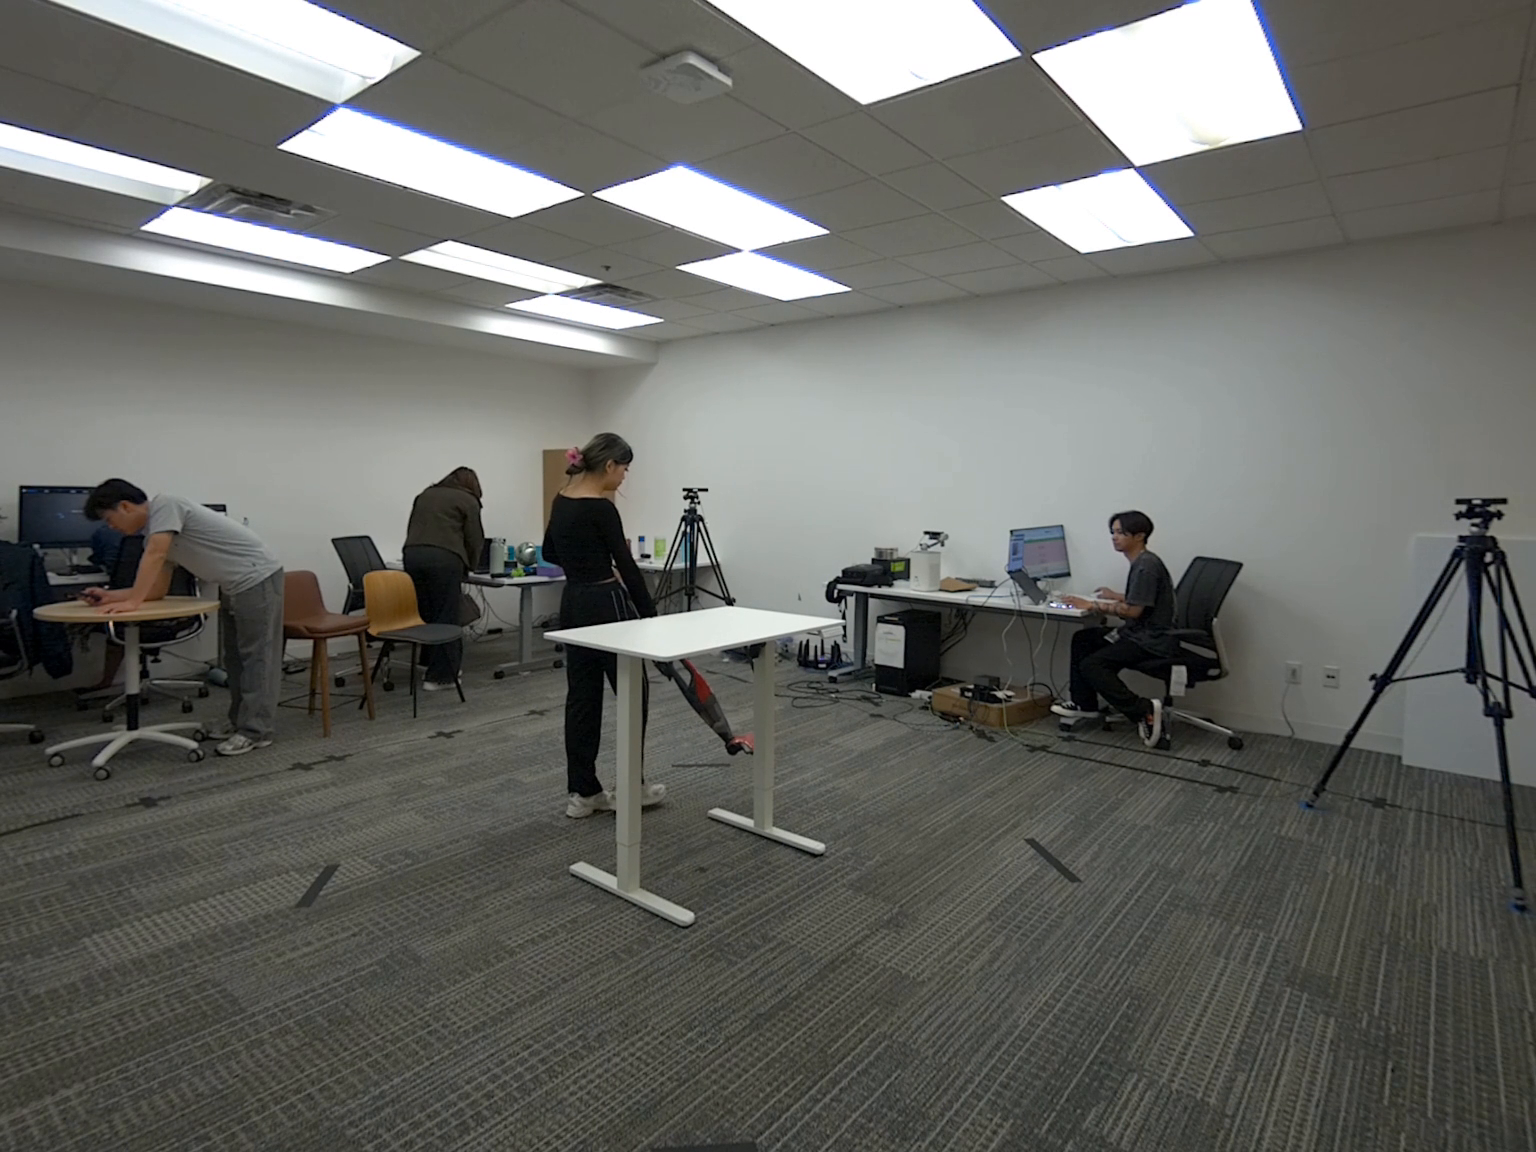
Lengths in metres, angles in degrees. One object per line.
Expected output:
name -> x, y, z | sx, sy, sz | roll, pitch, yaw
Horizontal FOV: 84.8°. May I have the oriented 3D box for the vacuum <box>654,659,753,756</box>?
vacuum -> -0.447, 0.361, 3.774 | 0.144, 1.047, 0.252 | -39, 2, 10
